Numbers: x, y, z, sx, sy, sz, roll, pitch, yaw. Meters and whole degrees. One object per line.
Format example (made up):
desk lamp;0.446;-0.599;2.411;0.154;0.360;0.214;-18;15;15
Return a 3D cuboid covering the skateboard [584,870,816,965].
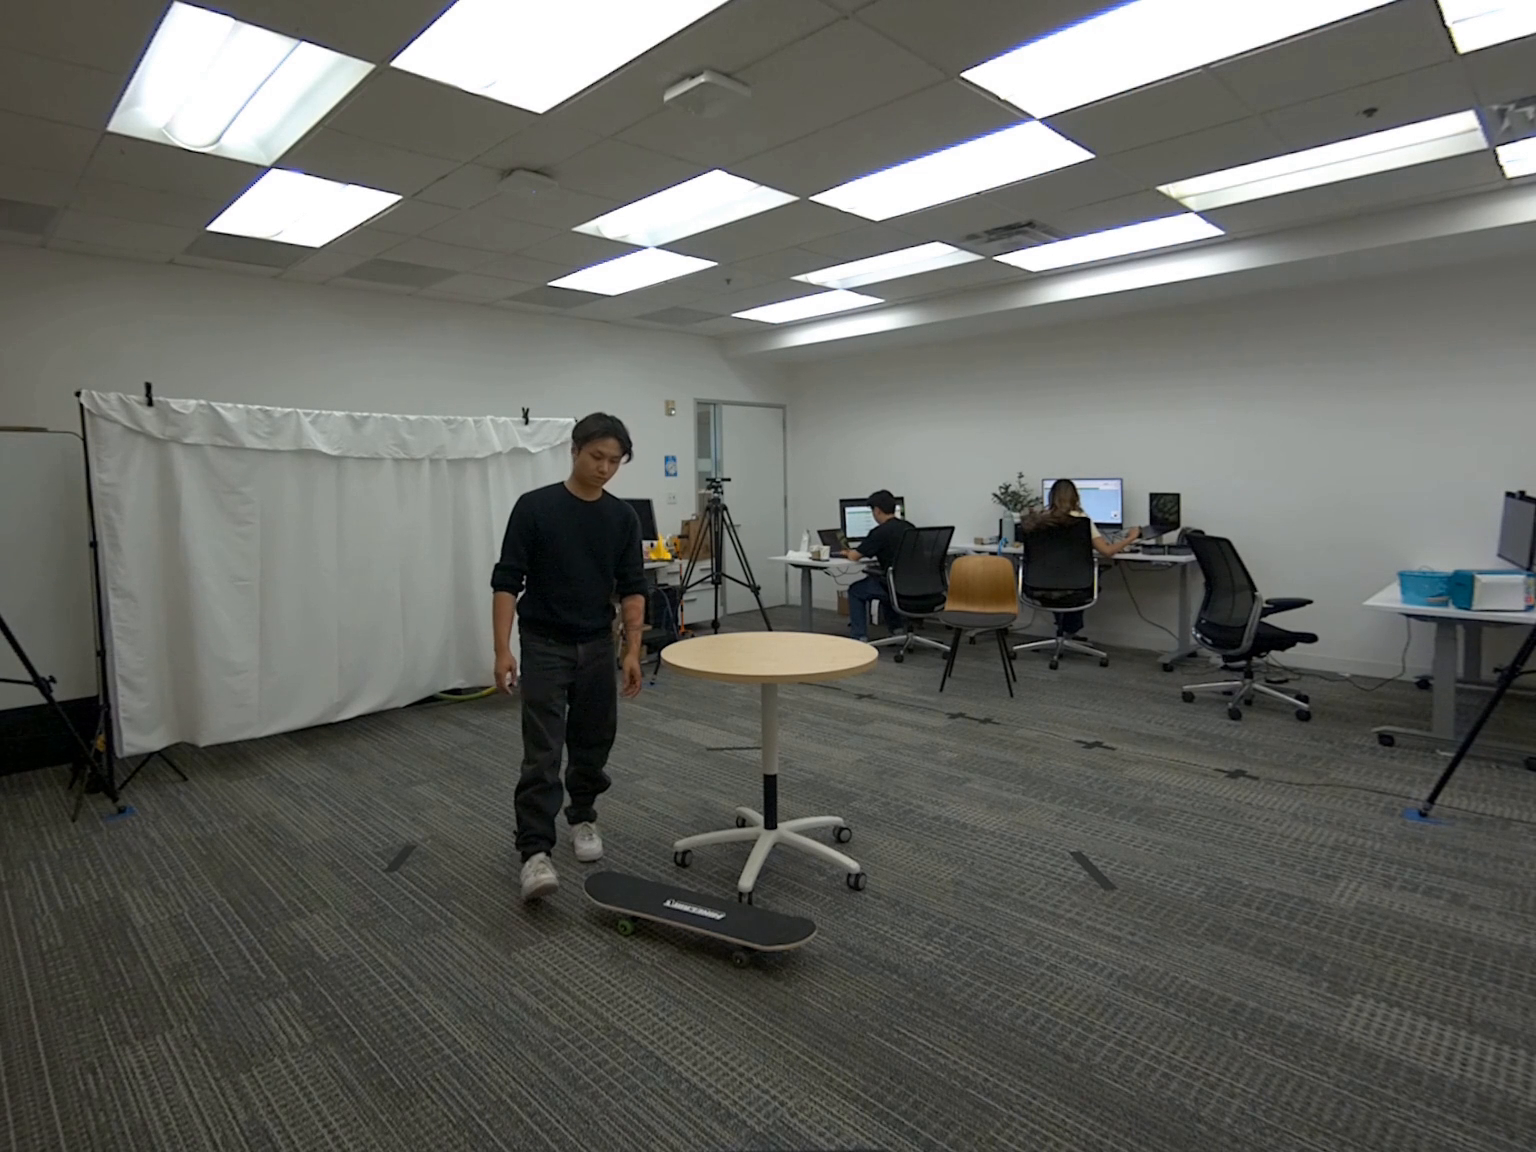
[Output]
skateboard;-0.225;1.043;2.604;0.805;0.110;0.189;3;7;28
